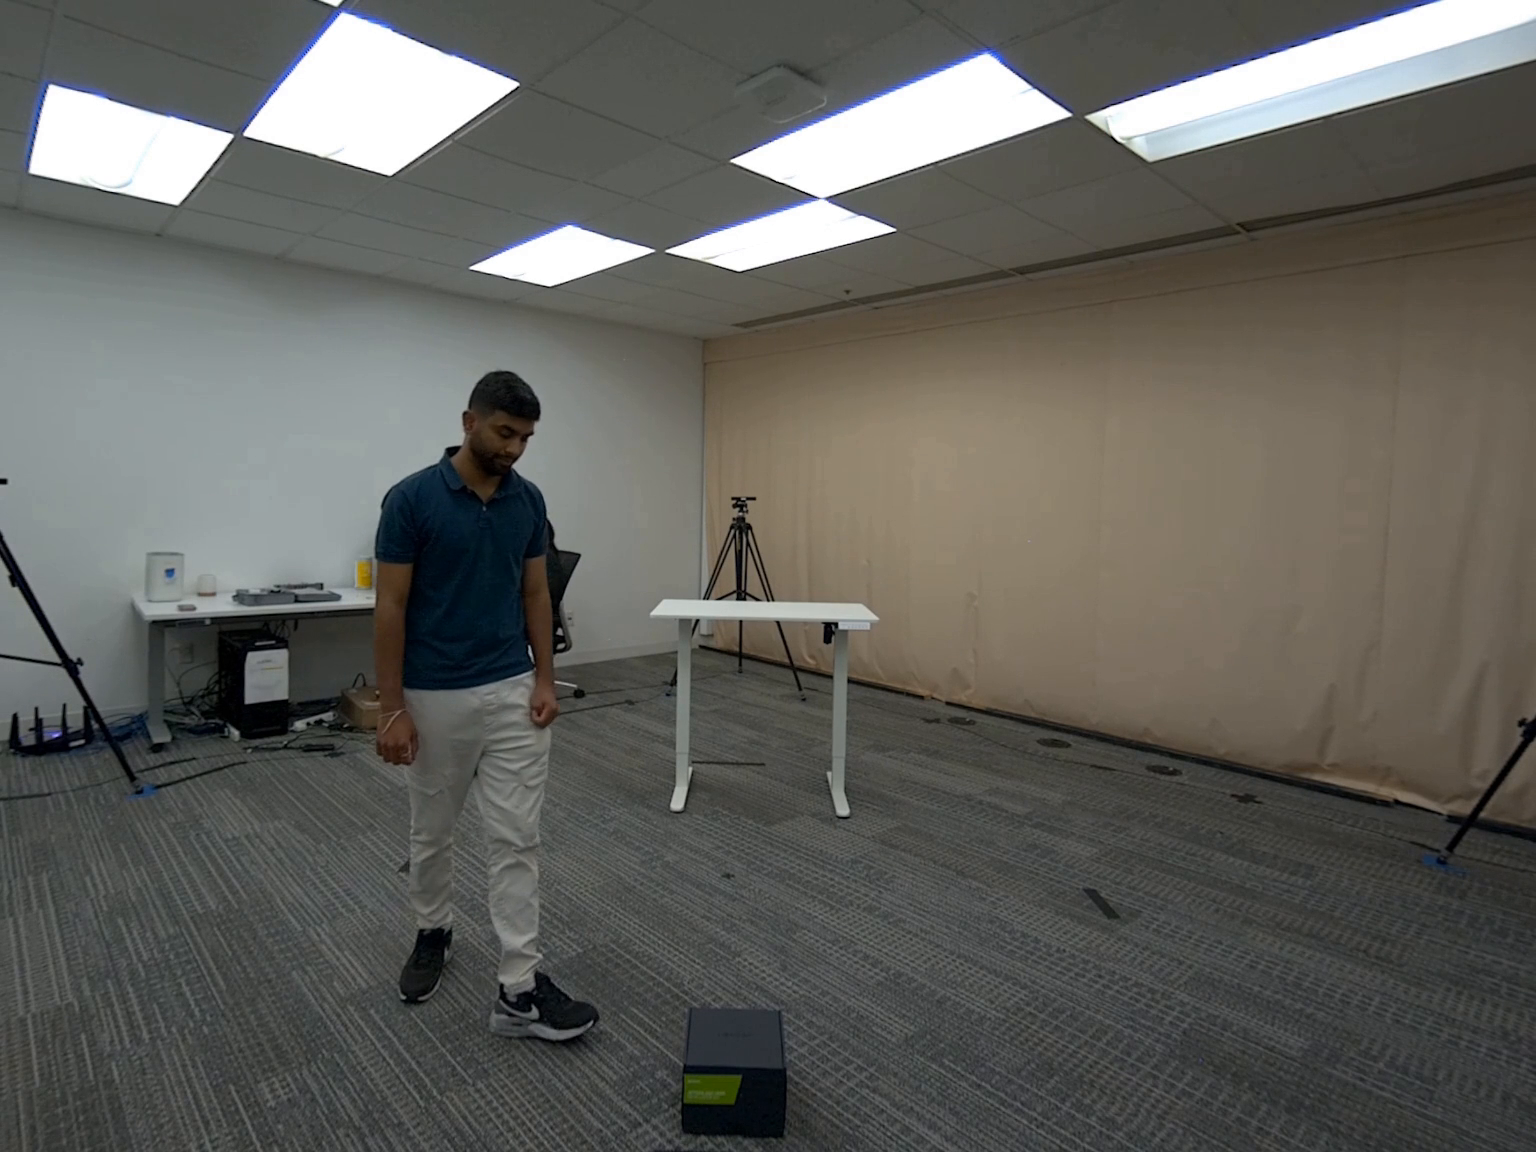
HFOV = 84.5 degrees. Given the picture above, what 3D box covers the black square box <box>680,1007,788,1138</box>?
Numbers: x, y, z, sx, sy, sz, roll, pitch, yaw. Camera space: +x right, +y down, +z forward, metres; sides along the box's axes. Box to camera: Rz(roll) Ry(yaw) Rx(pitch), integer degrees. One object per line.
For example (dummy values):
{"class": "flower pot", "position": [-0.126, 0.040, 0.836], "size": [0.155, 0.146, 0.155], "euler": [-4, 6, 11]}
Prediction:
{"class": "black square box", "position": [-0.081, 1.136, 1.932], "size": [0.228, 0.155, 0.218], "euler": [2, 4, -2]}
